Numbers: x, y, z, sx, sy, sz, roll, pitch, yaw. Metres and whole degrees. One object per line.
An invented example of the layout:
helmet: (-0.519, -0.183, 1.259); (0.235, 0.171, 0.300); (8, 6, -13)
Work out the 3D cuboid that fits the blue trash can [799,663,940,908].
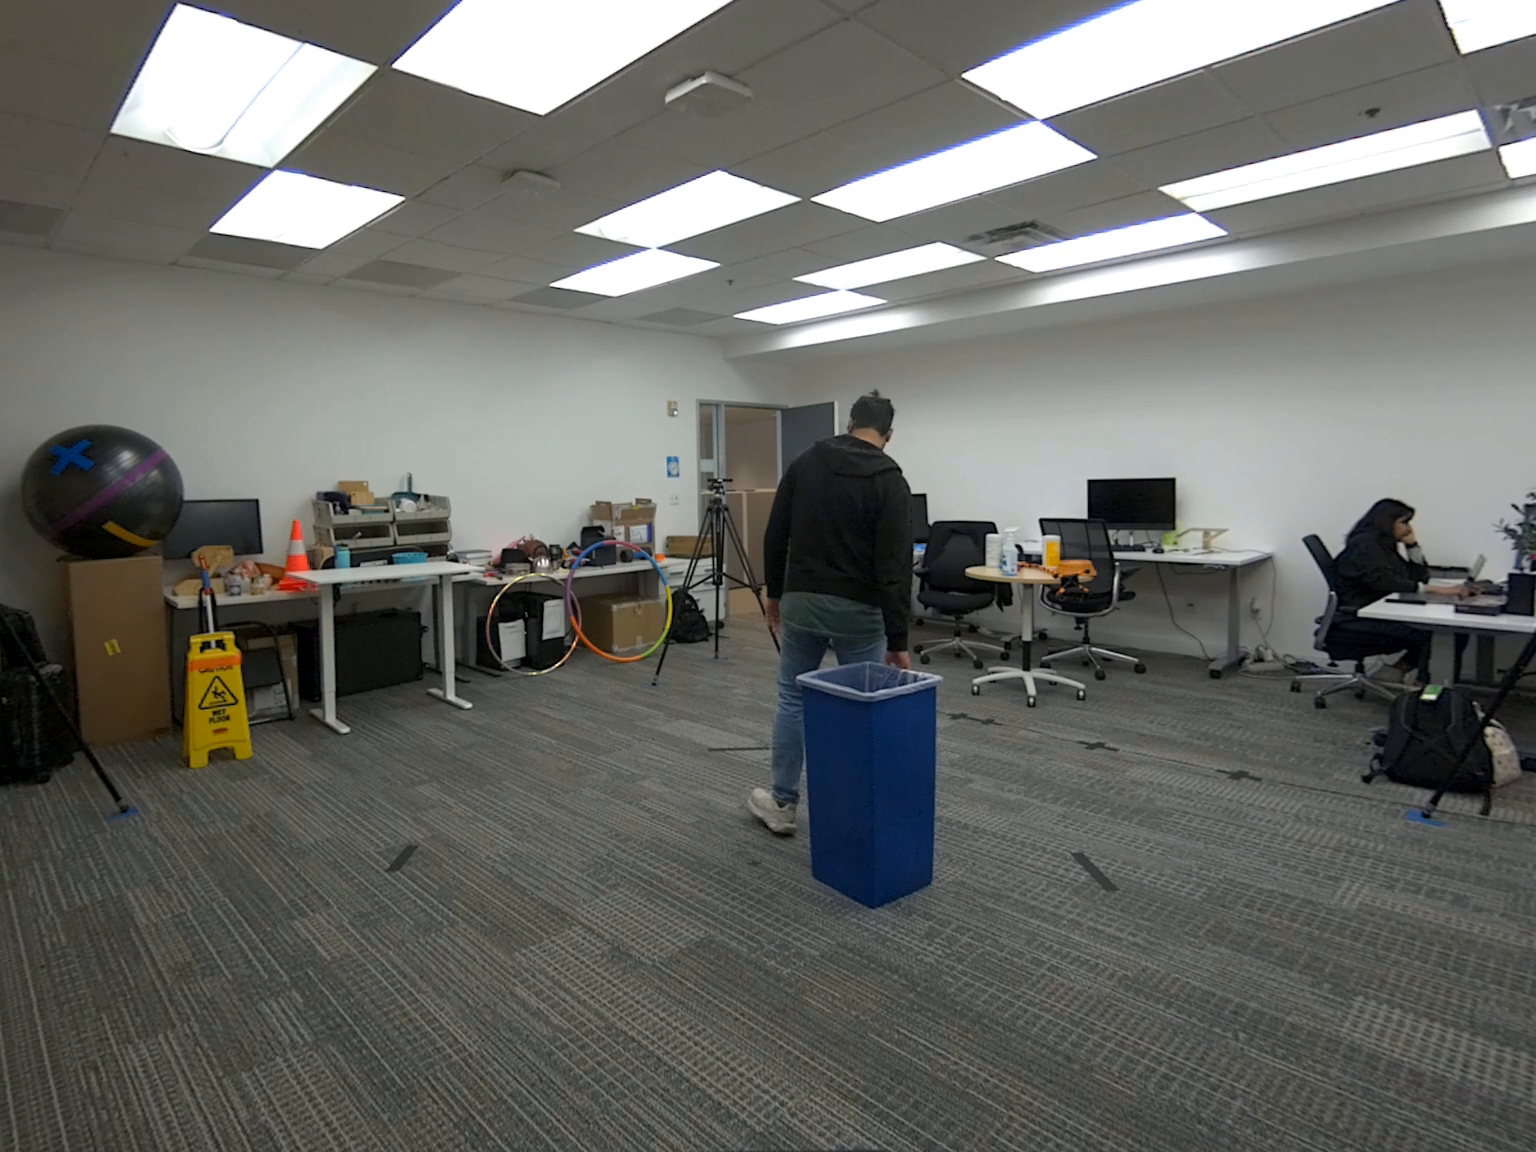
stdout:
blue trash can: (0.342, 0.699, 2.941); (0.368, 0.711, 0.385); (-5, 6, -39)
